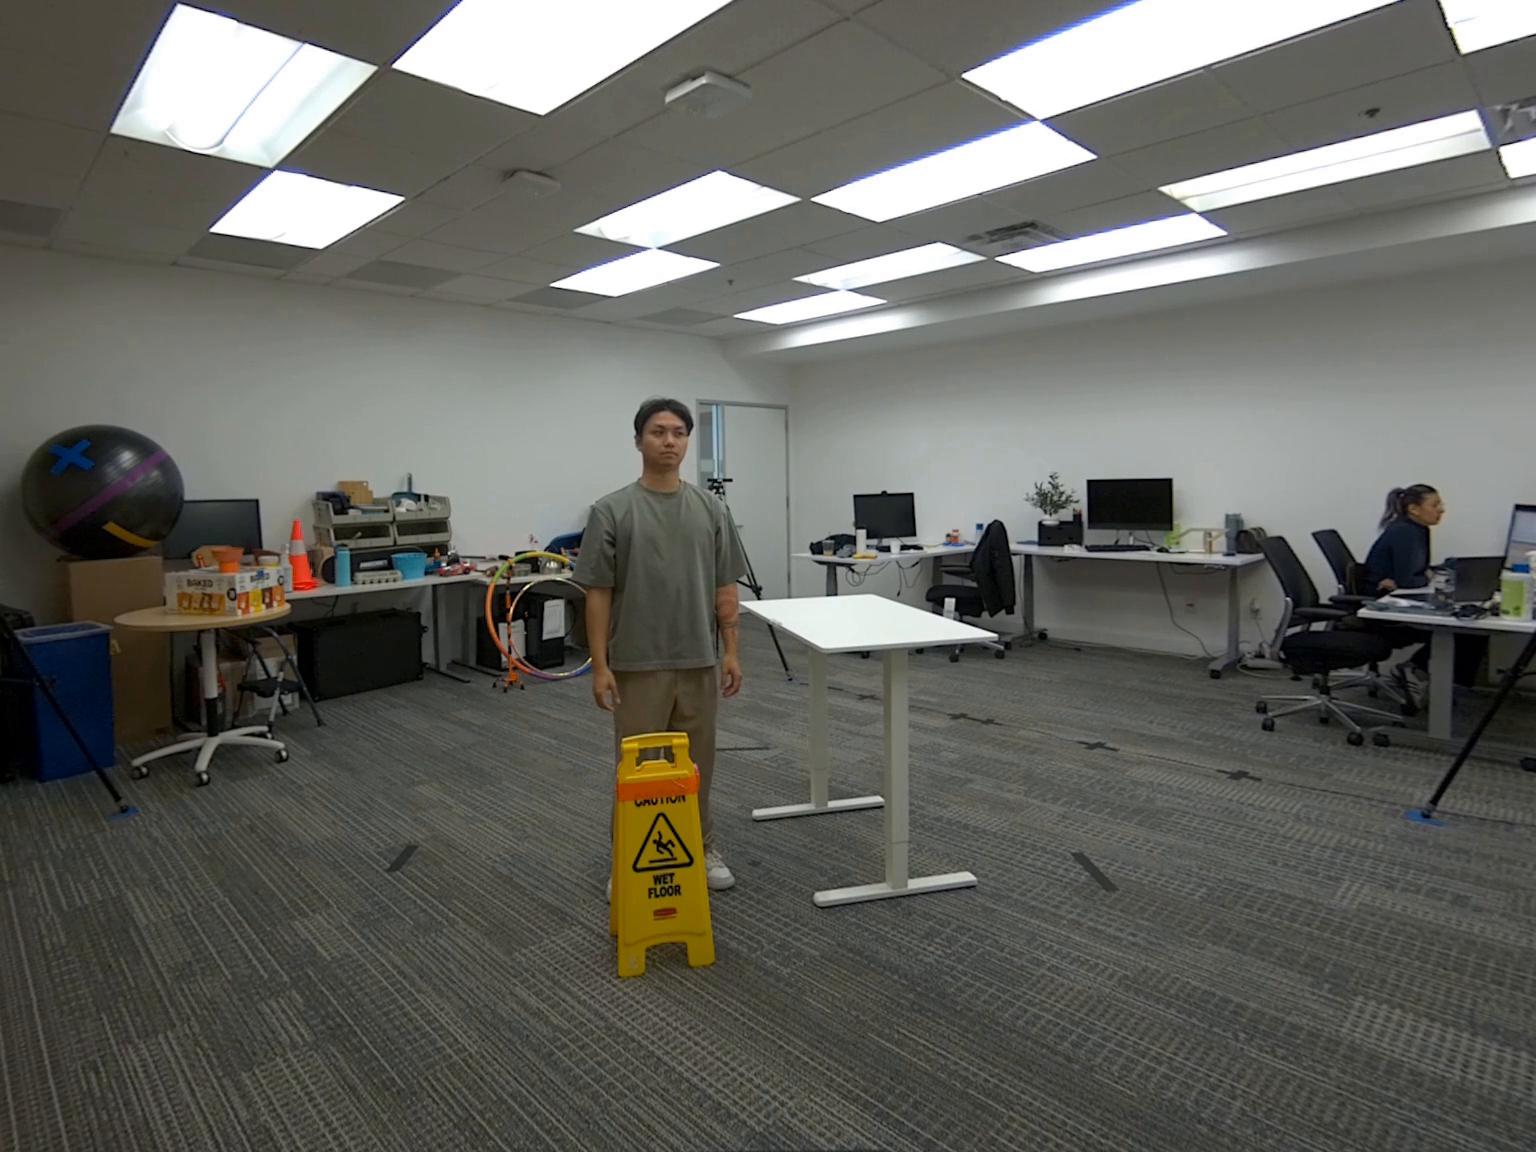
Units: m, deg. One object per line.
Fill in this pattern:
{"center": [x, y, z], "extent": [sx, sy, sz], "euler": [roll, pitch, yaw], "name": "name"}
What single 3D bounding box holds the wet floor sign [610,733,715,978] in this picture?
{"center": [-0.327, 0.792, 2.532], "extent": [0.279, 0.643, 0.295], "euler": [-3, 6, -14], "name": "wet floor sign"}
